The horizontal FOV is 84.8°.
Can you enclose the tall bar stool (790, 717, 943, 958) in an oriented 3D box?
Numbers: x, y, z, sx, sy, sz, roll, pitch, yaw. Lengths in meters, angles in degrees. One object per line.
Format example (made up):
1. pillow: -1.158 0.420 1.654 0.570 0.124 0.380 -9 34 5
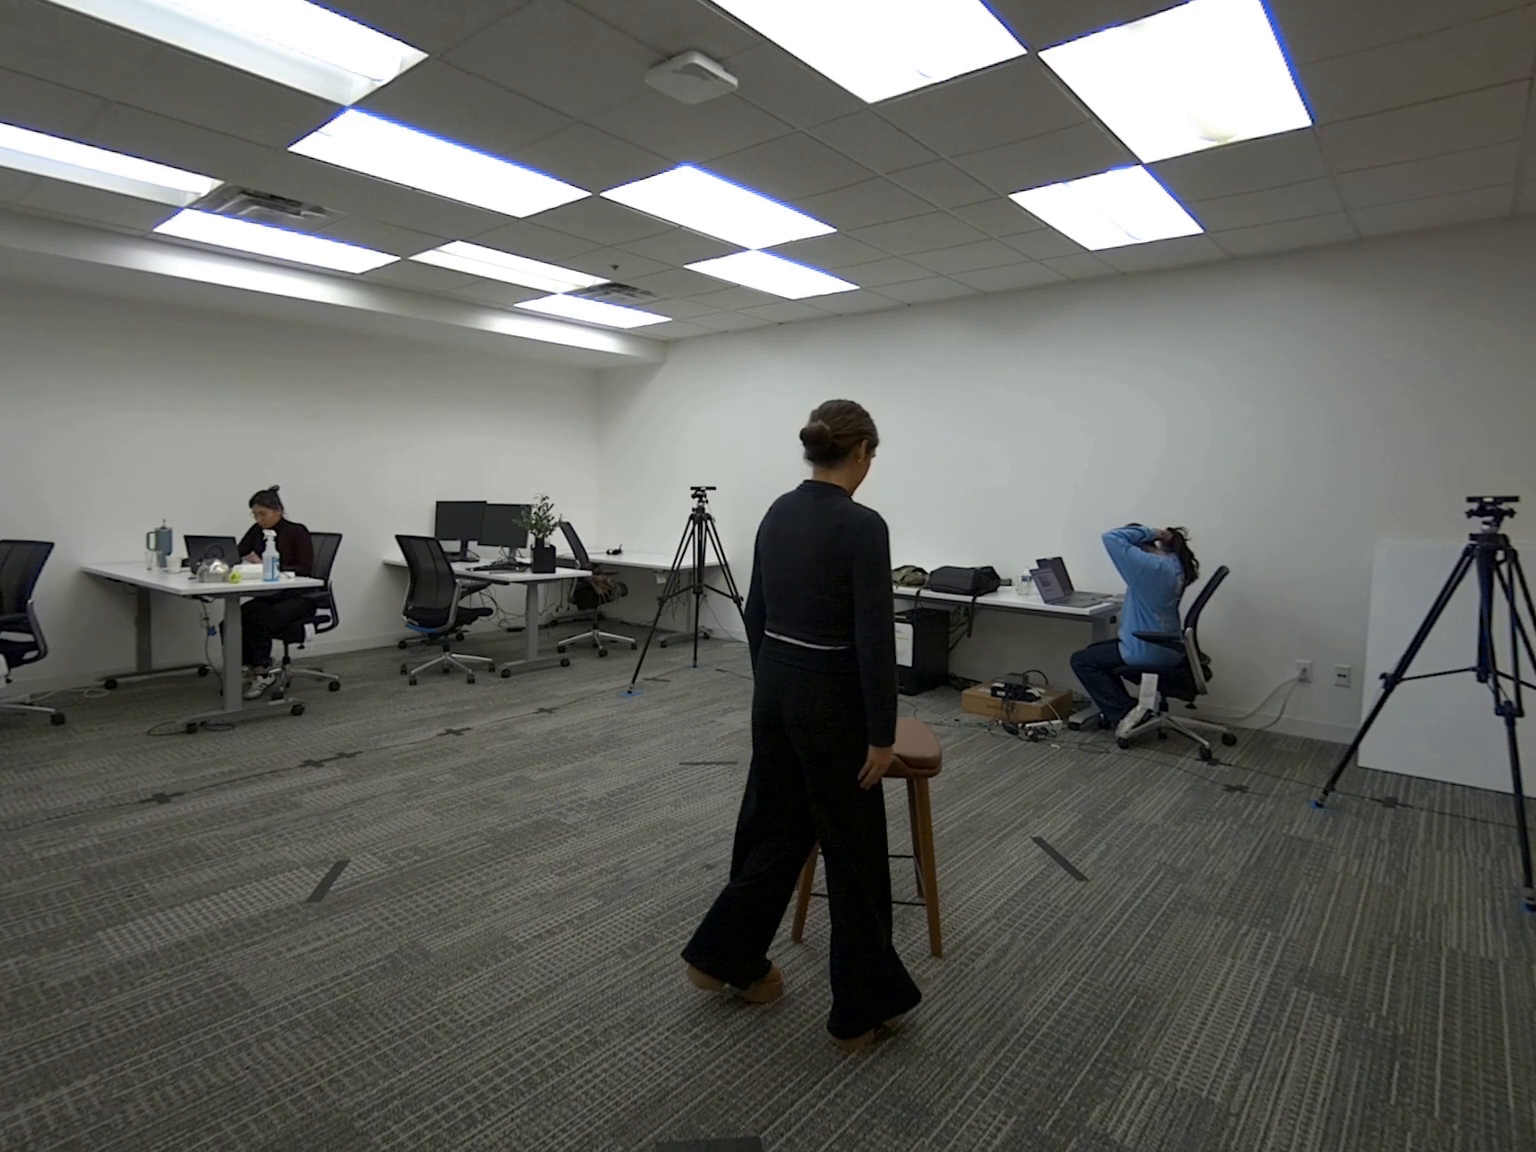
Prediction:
1. tall bar stool: 0.311 0.677 2.747 0.471 0.888 0.454 1 3 6
